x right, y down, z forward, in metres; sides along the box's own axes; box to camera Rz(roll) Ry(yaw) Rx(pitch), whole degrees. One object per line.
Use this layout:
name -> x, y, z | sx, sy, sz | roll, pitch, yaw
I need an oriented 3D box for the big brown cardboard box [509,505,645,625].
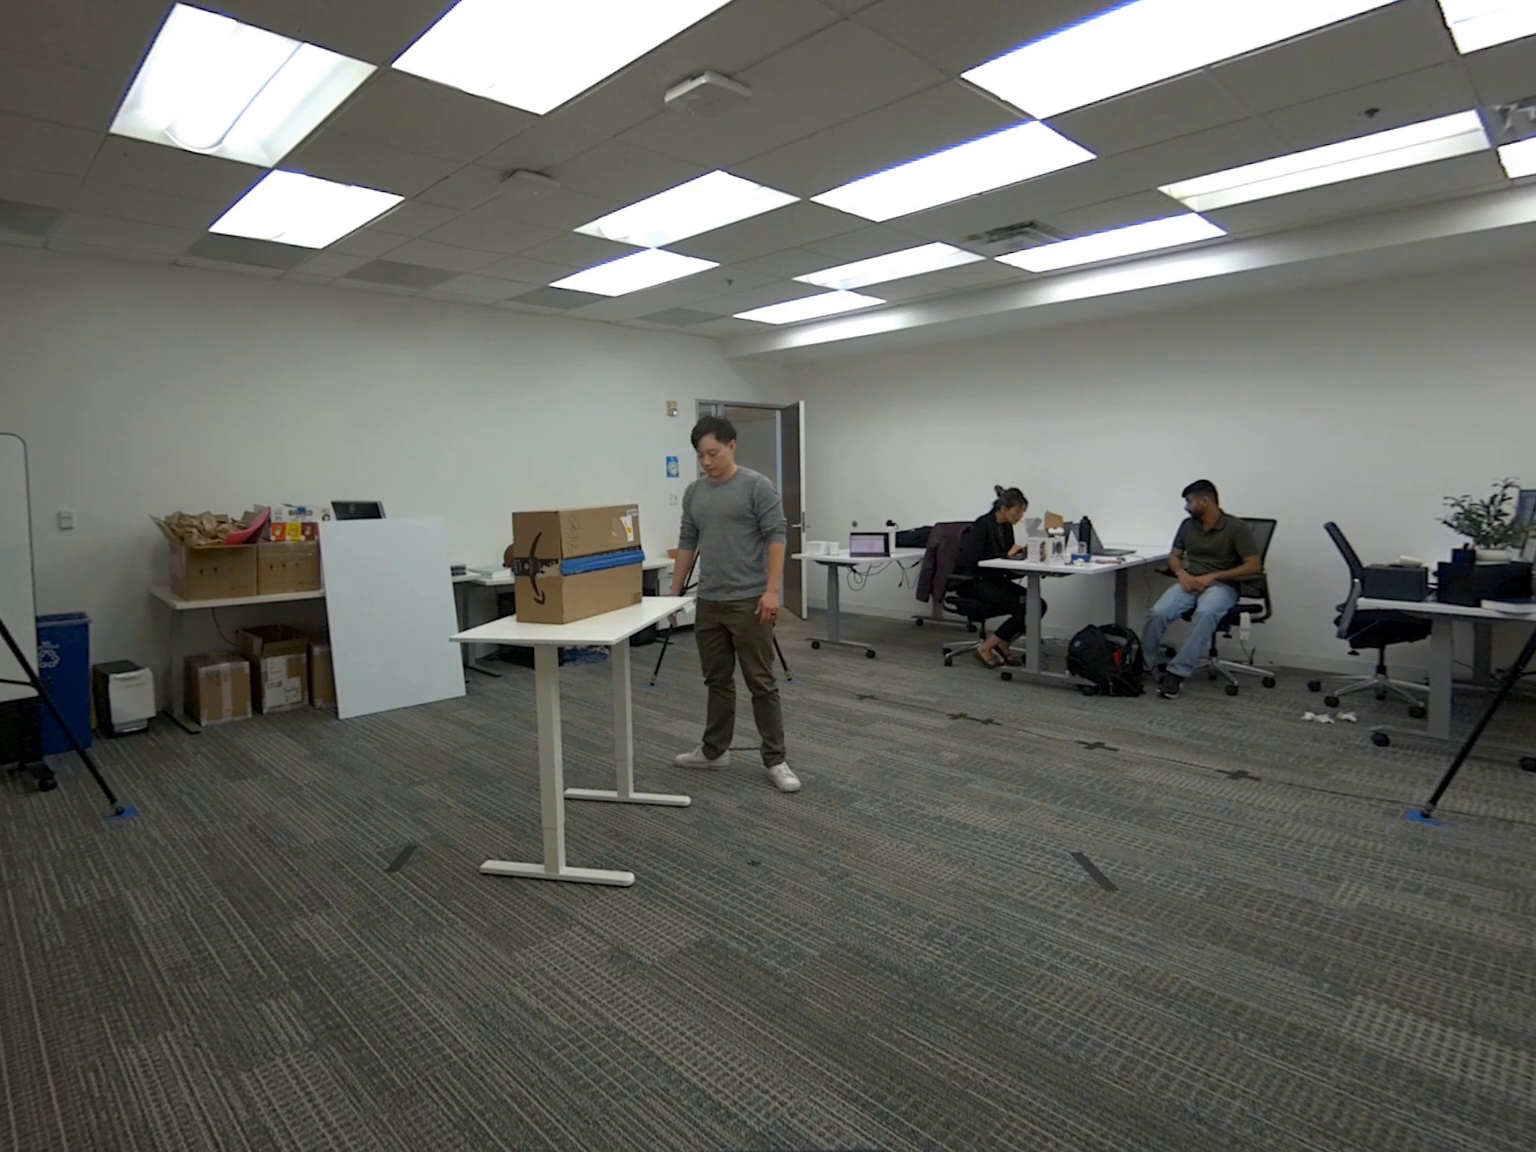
big brown cardboard box -> -0.740, -0.062, 3.400 | 0.238, 0.416, 0.578 | -1, 5, 24
